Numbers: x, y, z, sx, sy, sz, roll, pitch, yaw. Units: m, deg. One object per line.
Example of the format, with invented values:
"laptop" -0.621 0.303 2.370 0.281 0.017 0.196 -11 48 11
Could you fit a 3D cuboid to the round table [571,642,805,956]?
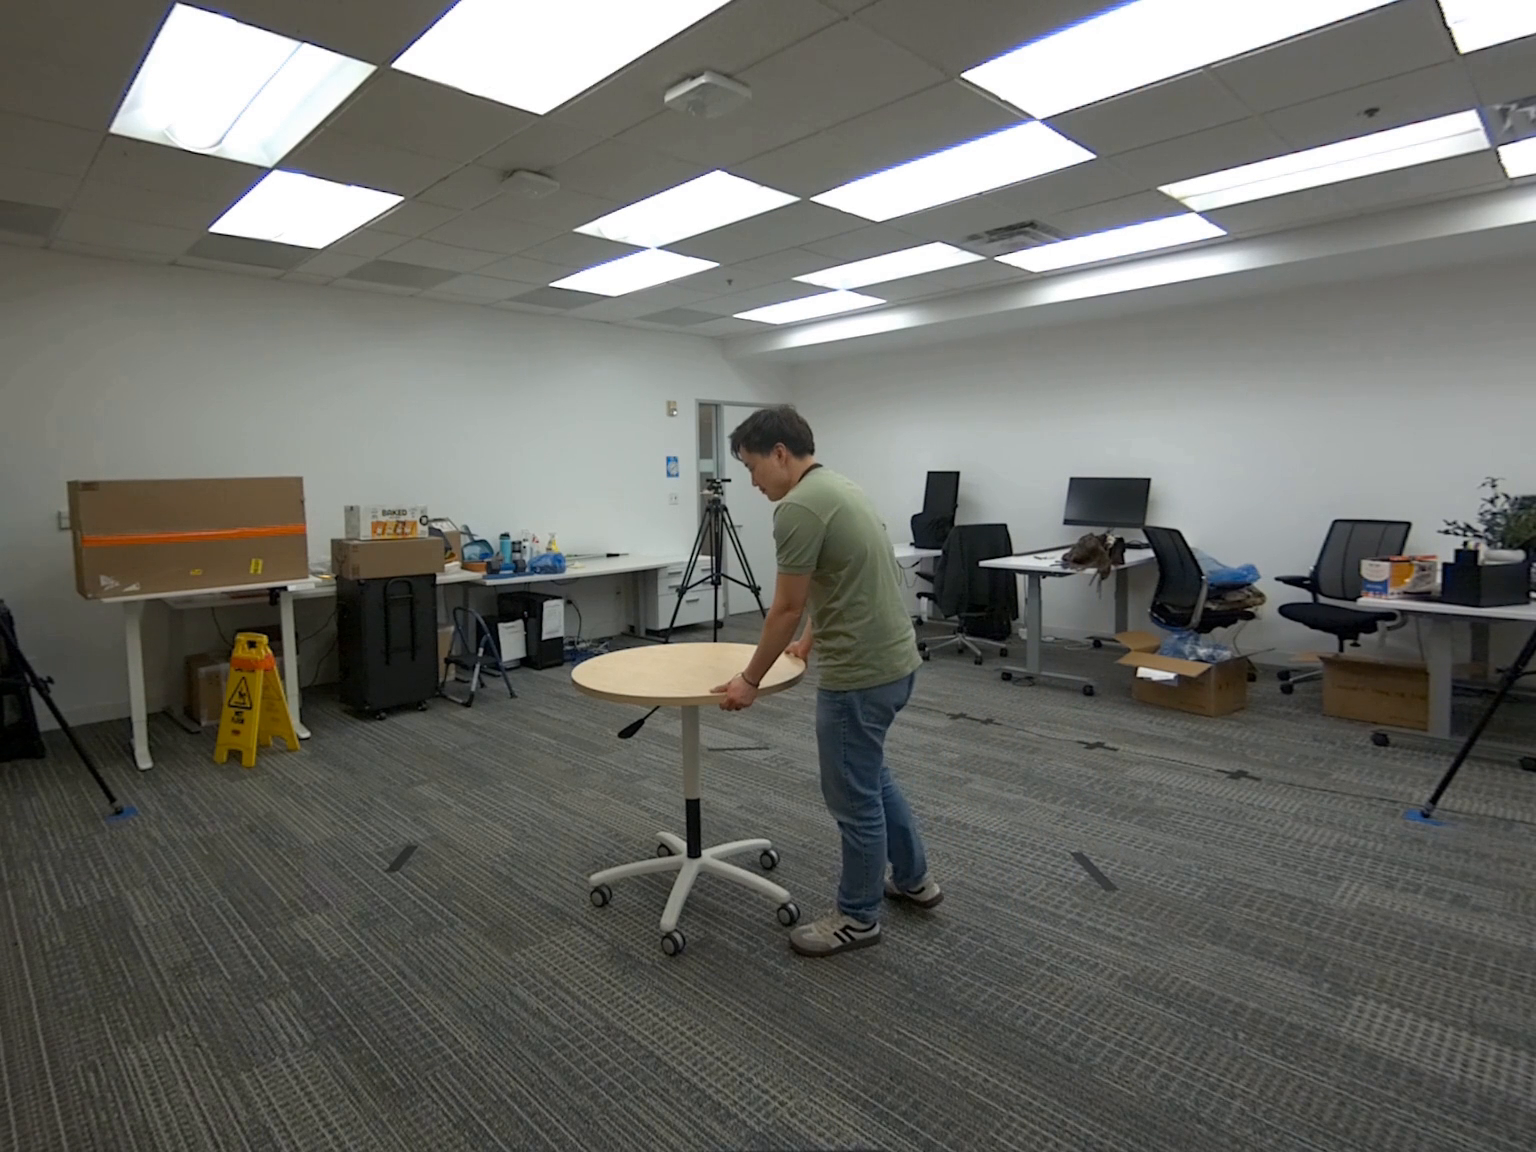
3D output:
"round table" -0.242 0.690 2.845 0.763 0.790 0.768 -1 5 -2
